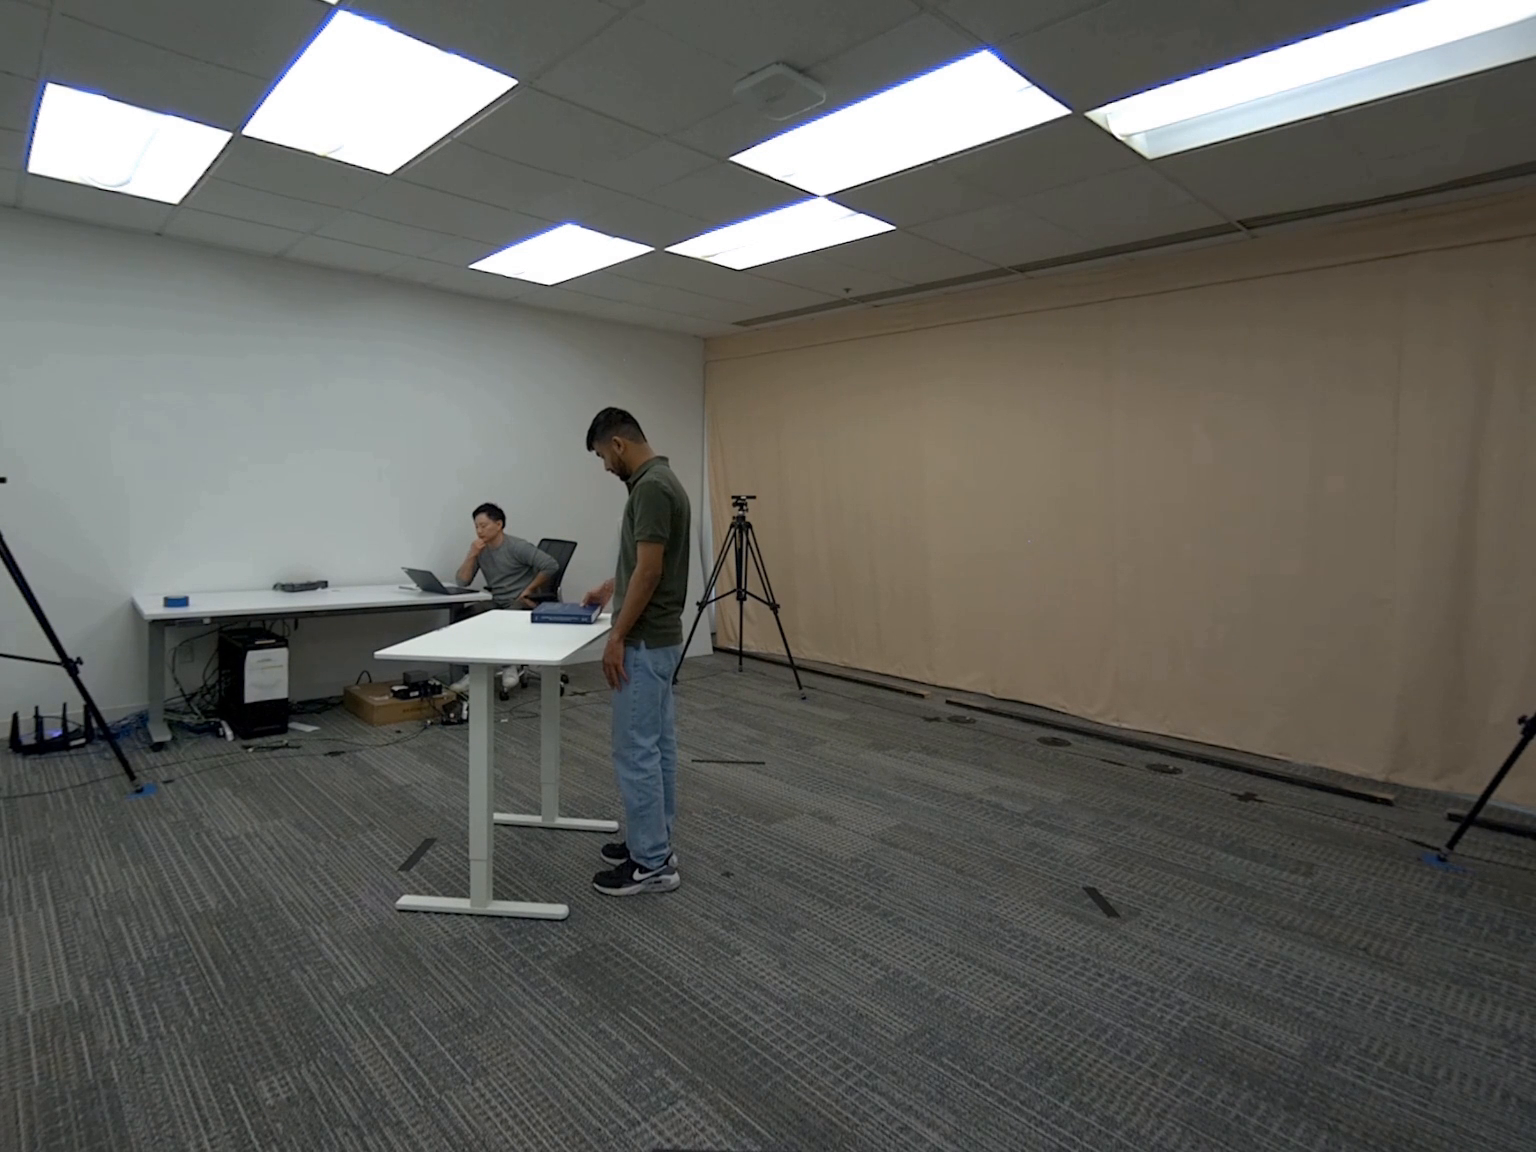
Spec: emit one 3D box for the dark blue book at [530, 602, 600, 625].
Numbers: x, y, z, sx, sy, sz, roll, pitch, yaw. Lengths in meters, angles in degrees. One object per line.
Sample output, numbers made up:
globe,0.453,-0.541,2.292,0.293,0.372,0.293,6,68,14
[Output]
dark blue book,-0.828,0.147,3.364,0.247,0.045,0.164,3,13,7
